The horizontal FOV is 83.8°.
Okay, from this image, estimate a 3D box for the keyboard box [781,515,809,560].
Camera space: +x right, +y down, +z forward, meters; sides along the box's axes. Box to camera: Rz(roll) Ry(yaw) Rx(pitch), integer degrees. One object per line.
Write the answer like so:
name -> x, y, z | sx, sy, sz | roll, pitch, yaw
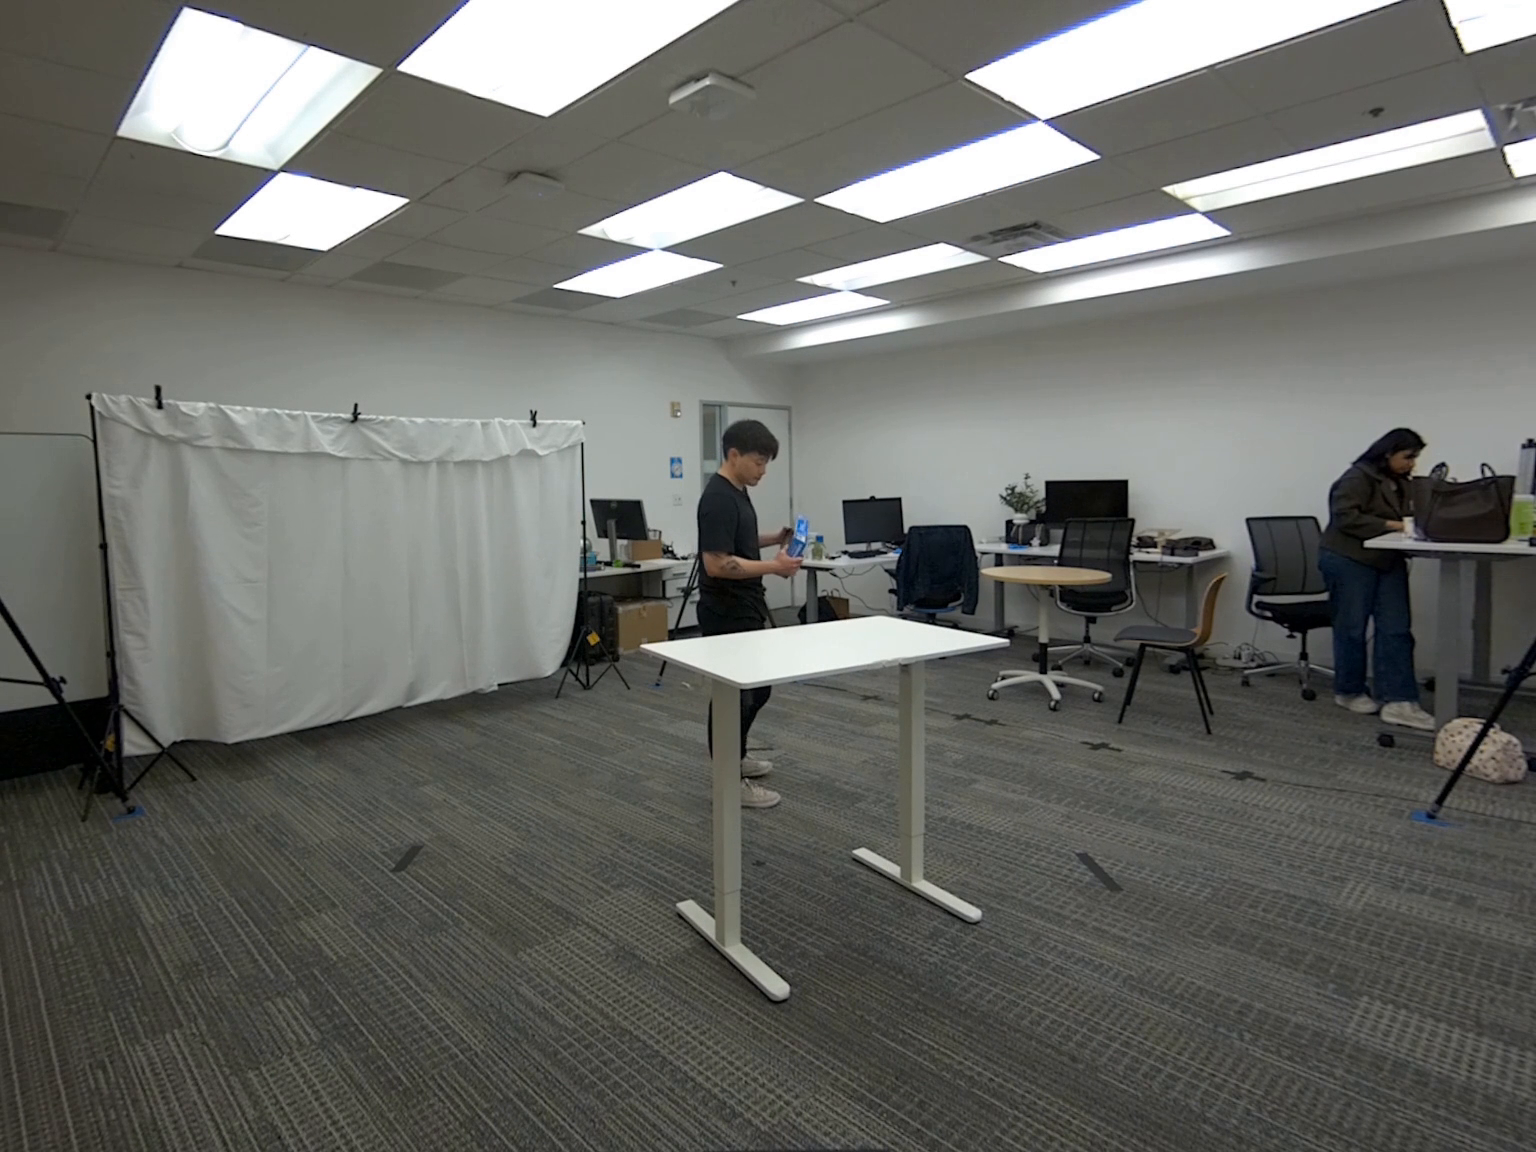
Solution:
keyboard box -> 0.101, -0.132, 3.668 | 0.059, 0.175, 0.440 | 29, 16, -5
